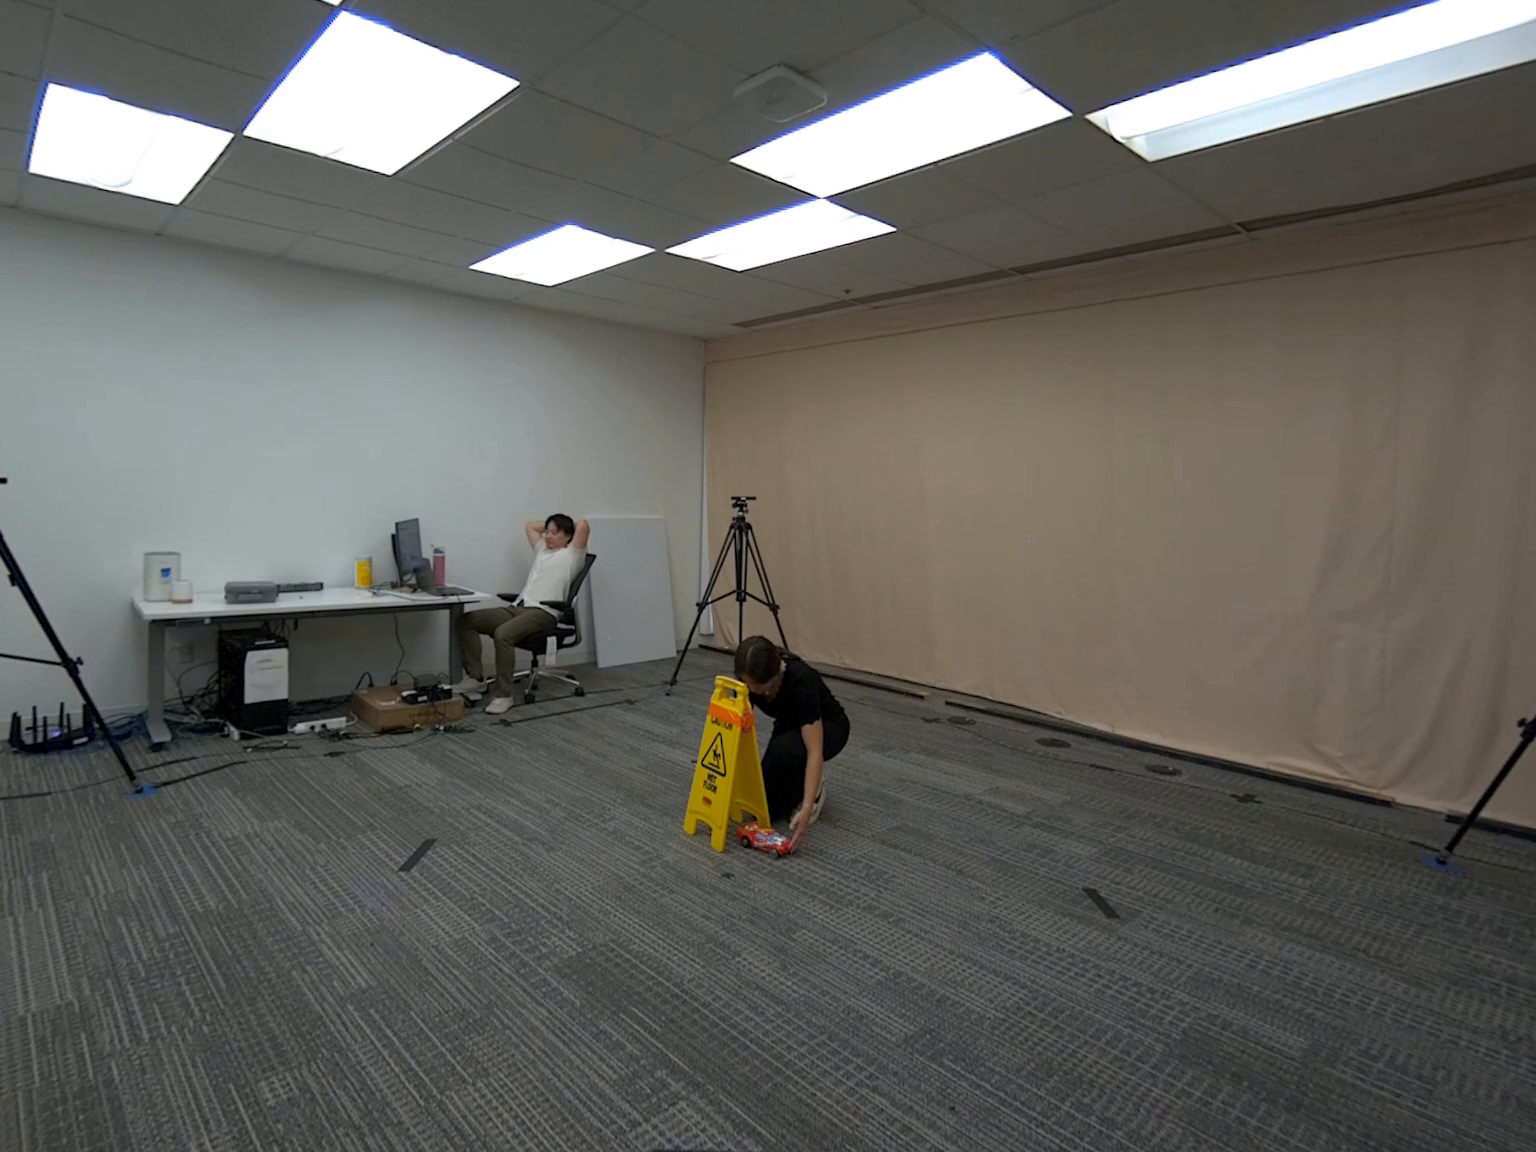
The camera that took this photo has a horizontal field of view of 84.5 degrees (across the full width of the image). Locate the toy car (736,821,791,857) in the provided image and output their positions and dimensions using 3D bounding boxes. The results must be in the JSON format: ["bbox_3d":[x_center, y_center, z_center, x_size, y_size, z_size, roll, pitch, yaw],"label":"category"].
[{"bbox_3d":[-0.037,1.054,3.375,0.262,0.083,0.127,19,13,40],"label":"toy car"}]
